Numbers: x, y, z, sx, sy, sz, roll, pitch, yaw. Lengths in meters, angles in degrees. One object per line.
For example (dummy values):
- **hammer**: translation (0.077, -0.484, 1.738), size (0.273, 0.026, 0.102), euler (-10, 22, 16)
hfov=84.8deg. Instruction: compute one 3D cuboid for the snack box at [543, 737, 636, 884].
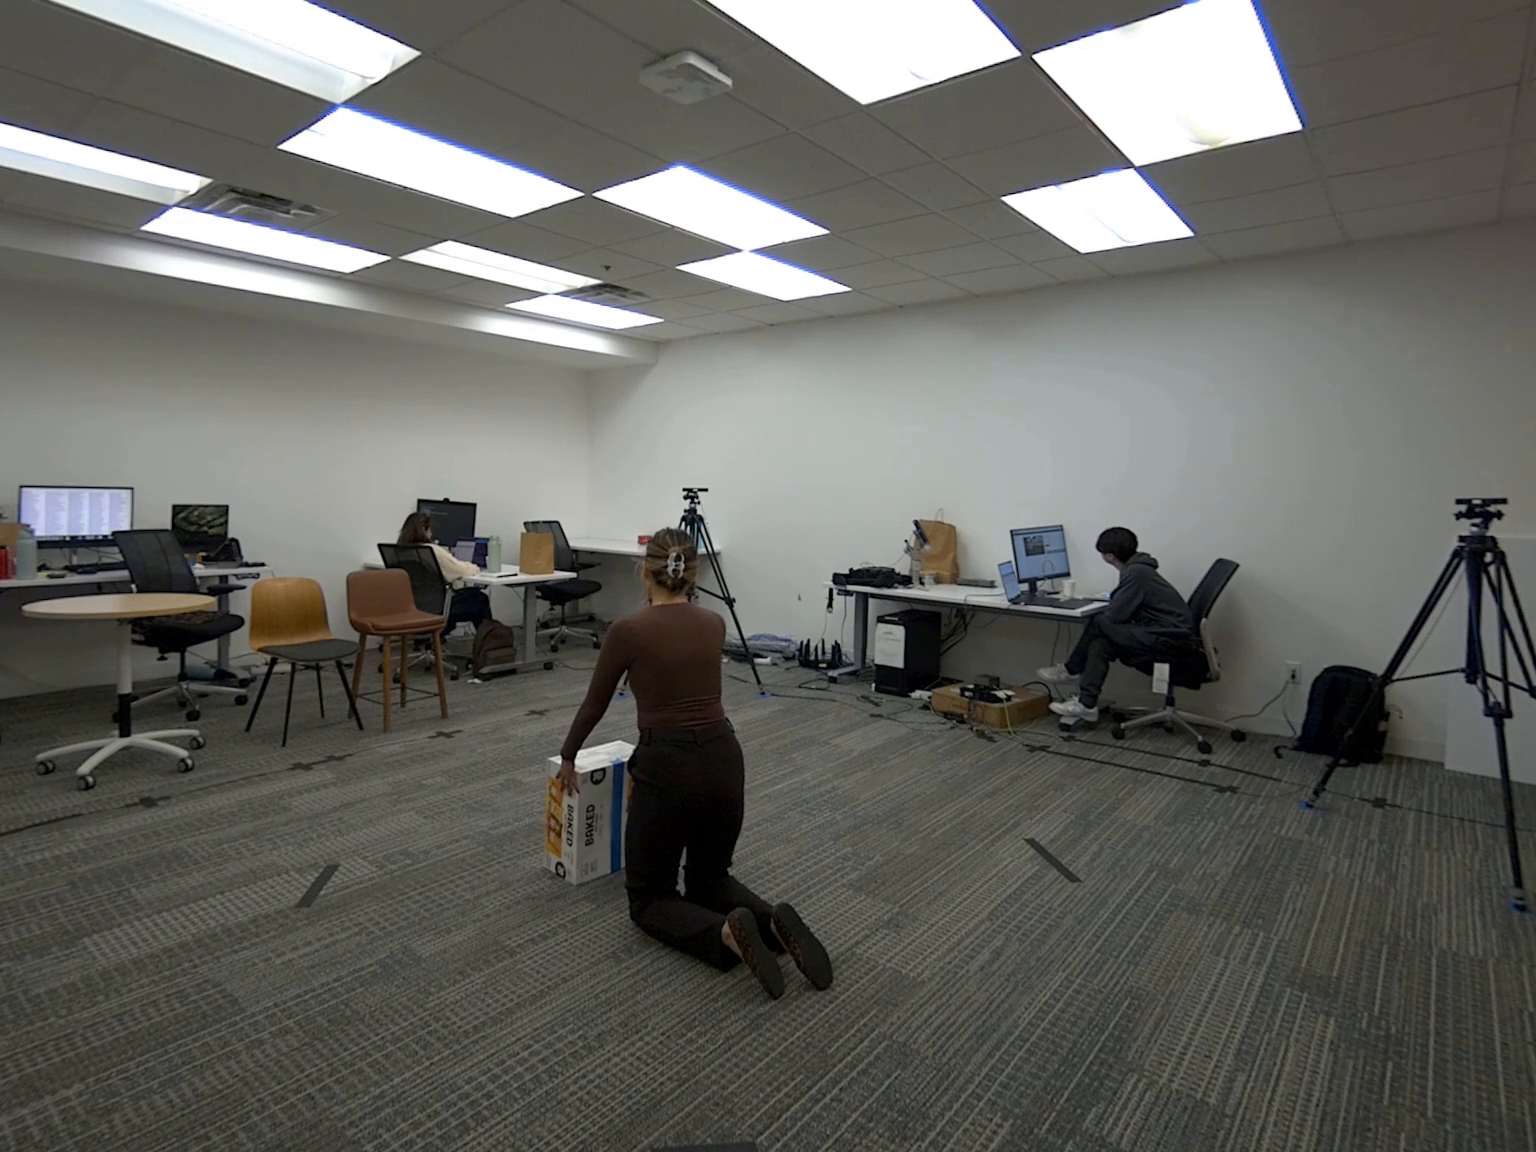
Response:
- **snack box**: translation (-0.632, 0.854, 3.128), size (0.213, 0.404, 0.330), euler (6, 6, 43)
